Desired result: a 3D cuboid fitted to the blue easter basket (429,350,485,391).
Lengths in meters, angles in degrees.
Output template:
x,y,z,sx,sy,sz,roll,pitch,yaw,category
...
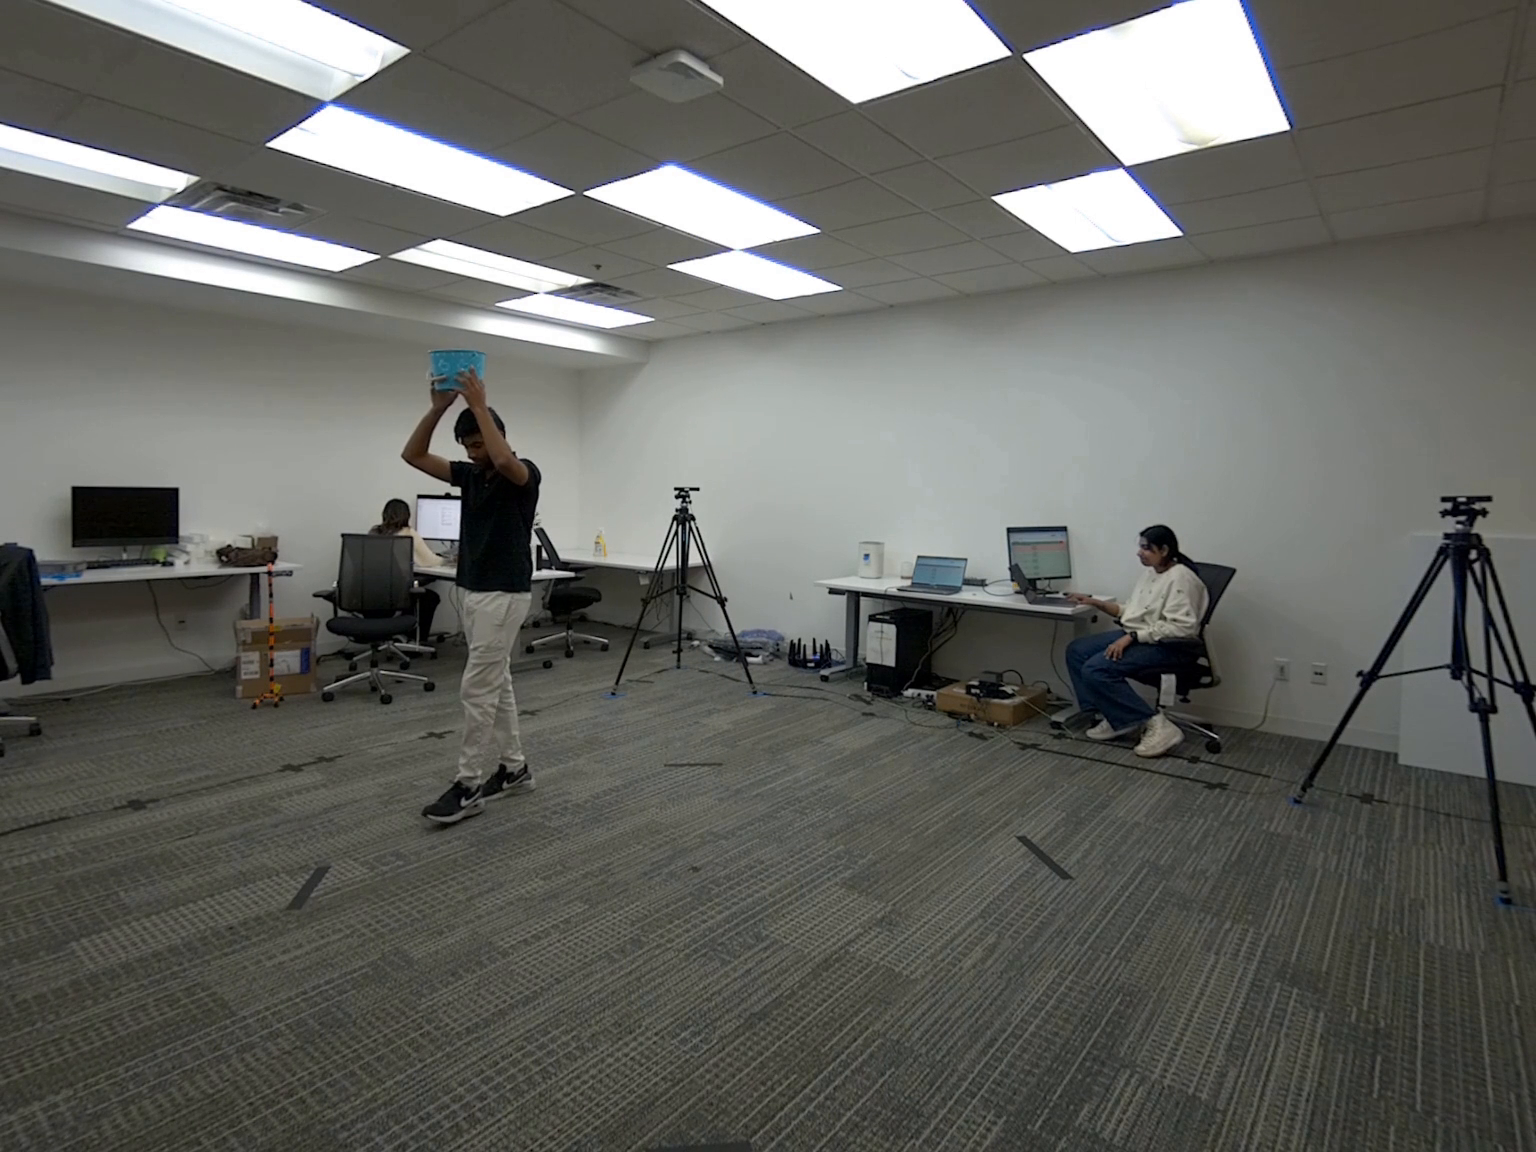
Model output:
x,y,z,sx,sy,sz,roll,pitch,yaw,category
-1.314,-0.848,3.509,0.243,0.155,0.245,-2,6,-2,blue easter basket
